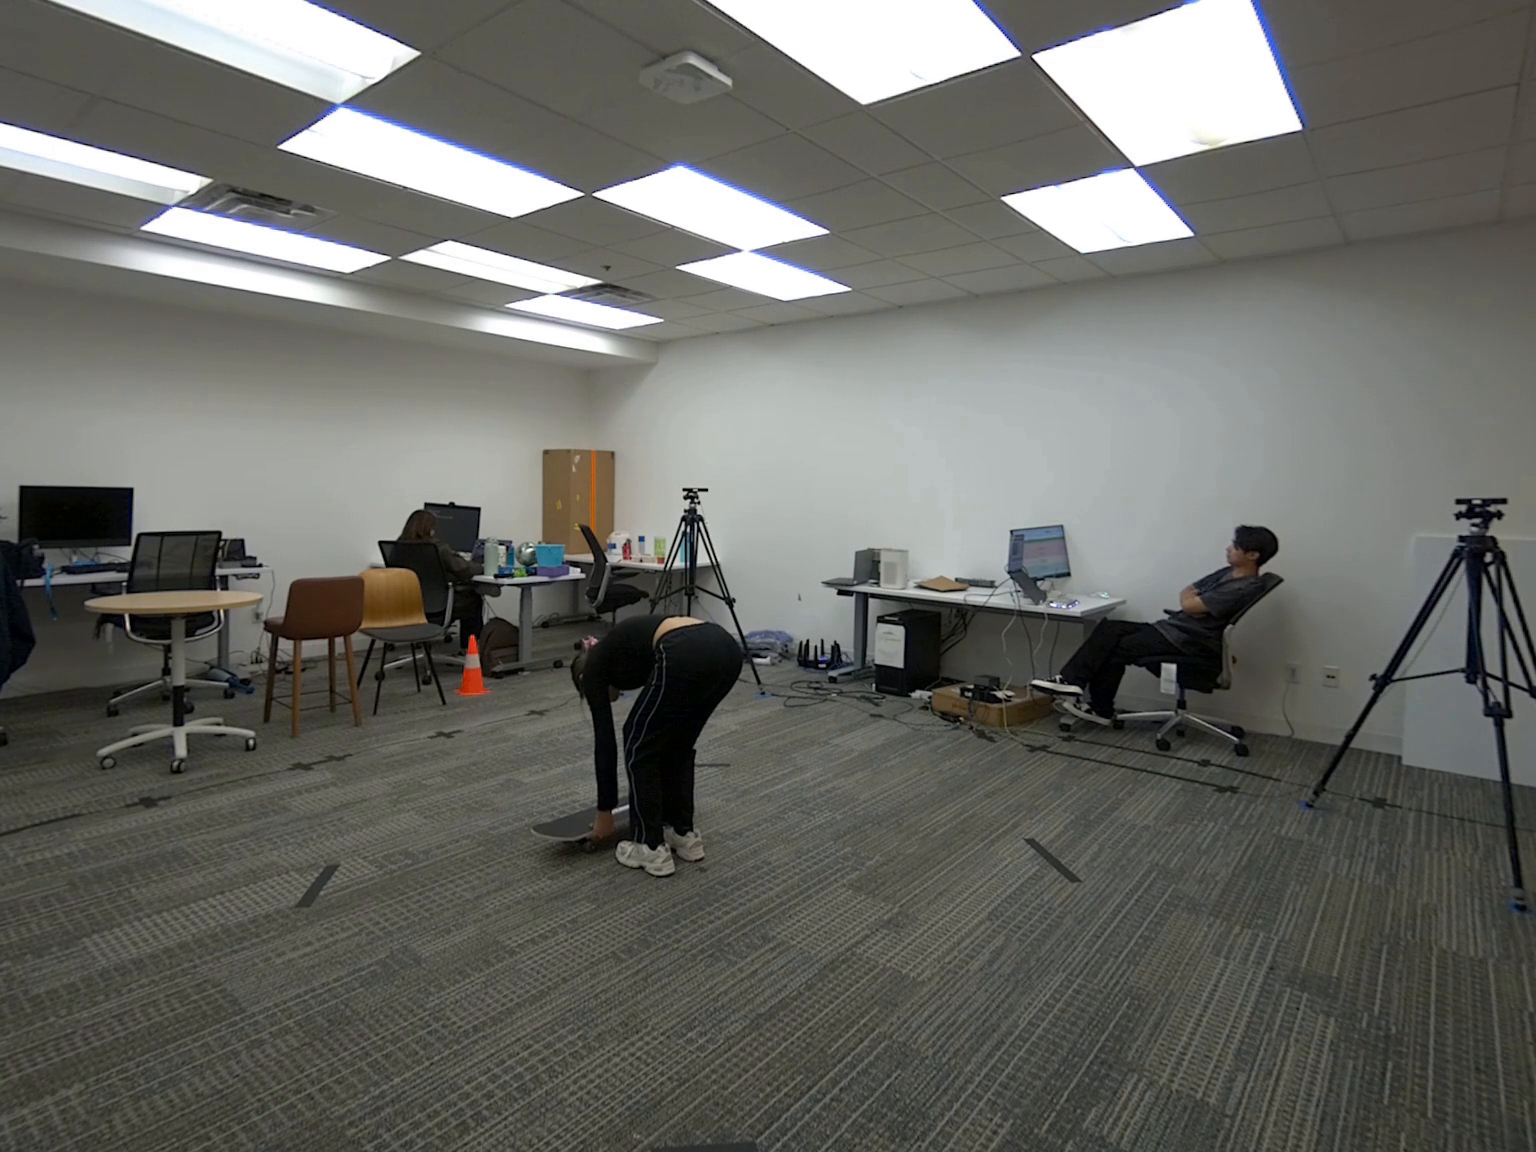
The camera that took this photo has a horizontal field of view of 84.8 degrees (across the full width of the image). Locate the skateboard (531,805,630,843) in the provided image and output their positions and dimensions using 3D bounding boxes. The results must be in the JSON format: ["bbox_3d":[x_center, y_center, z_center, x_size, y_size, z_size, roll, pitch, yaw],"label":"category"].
[{"bbox_3d":[-0.621,0.978,3.442,0.200,0.110,0.762,4,7,42],"label":"skateboard"}]
